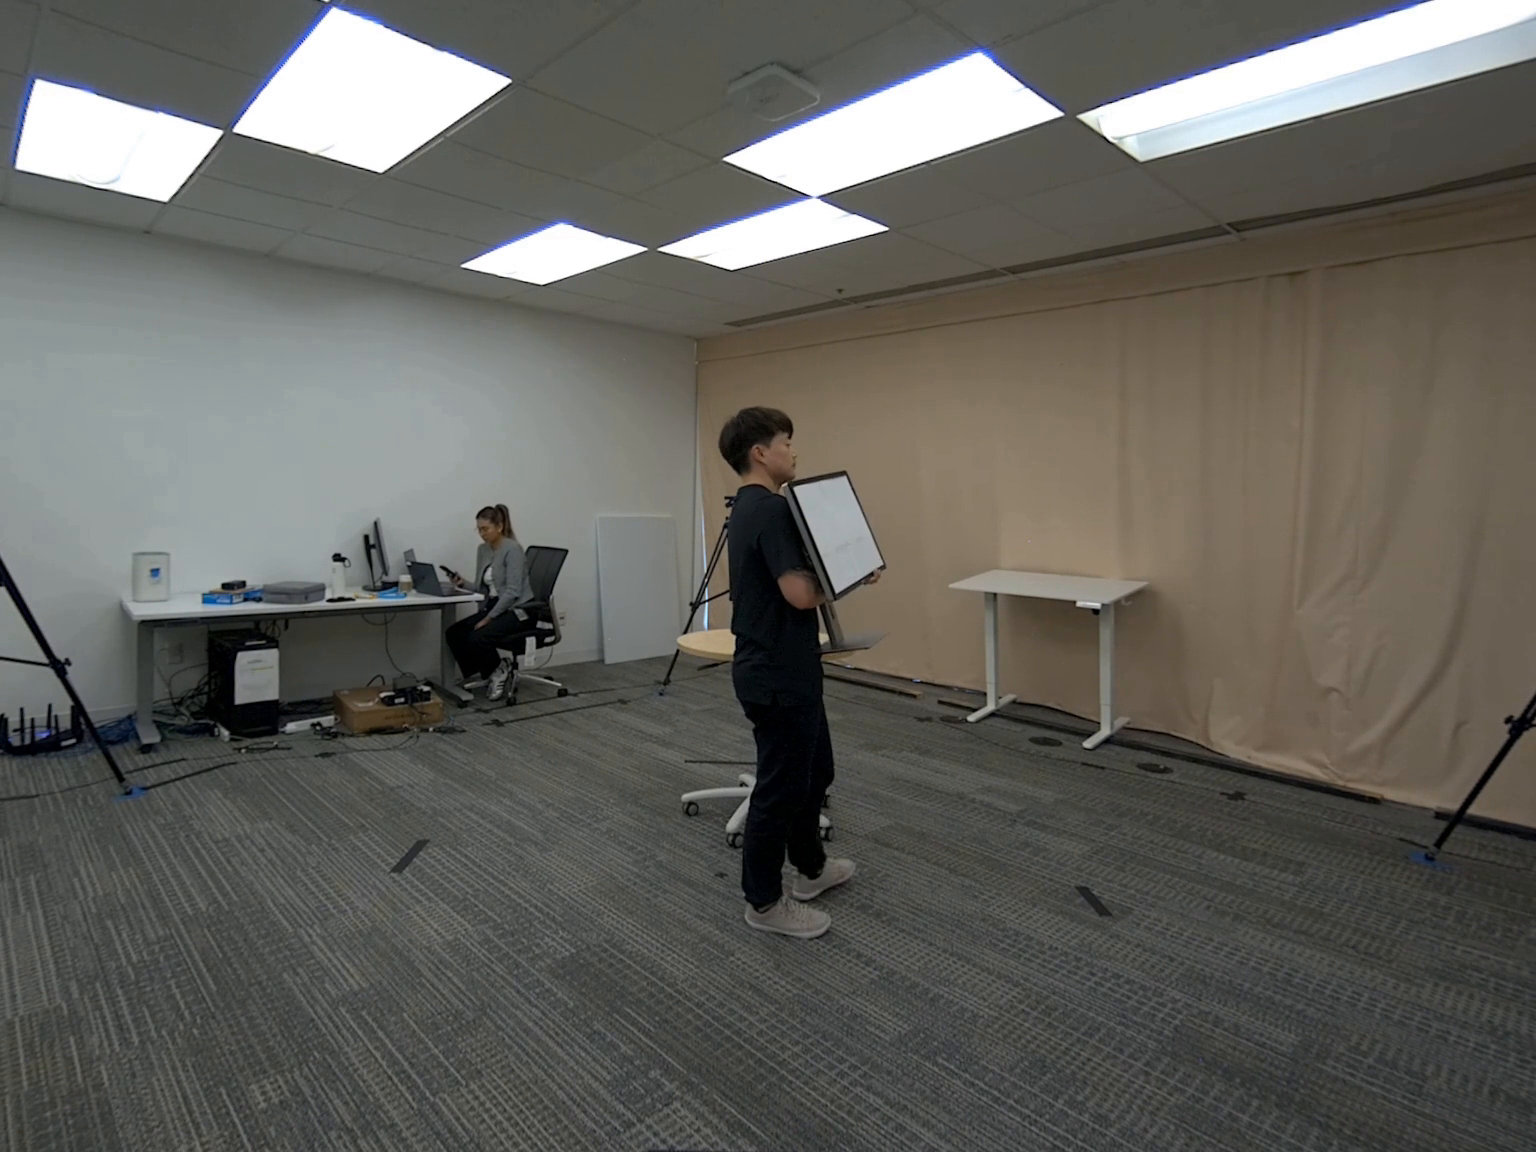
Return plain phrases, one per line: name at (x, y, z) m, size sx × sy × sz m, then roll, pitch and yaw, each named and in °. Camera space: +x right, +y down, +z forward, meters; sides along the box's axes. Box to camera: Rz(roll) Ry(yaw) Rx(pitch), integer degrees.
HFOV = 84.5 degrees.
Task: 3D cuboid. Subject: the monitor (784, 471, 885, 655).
monitor at (0.203, -0.047, 2.653) m, size 0.190 × 0.521 × 0.533 m, roll -10°, pitch 4°, yaw 24°
